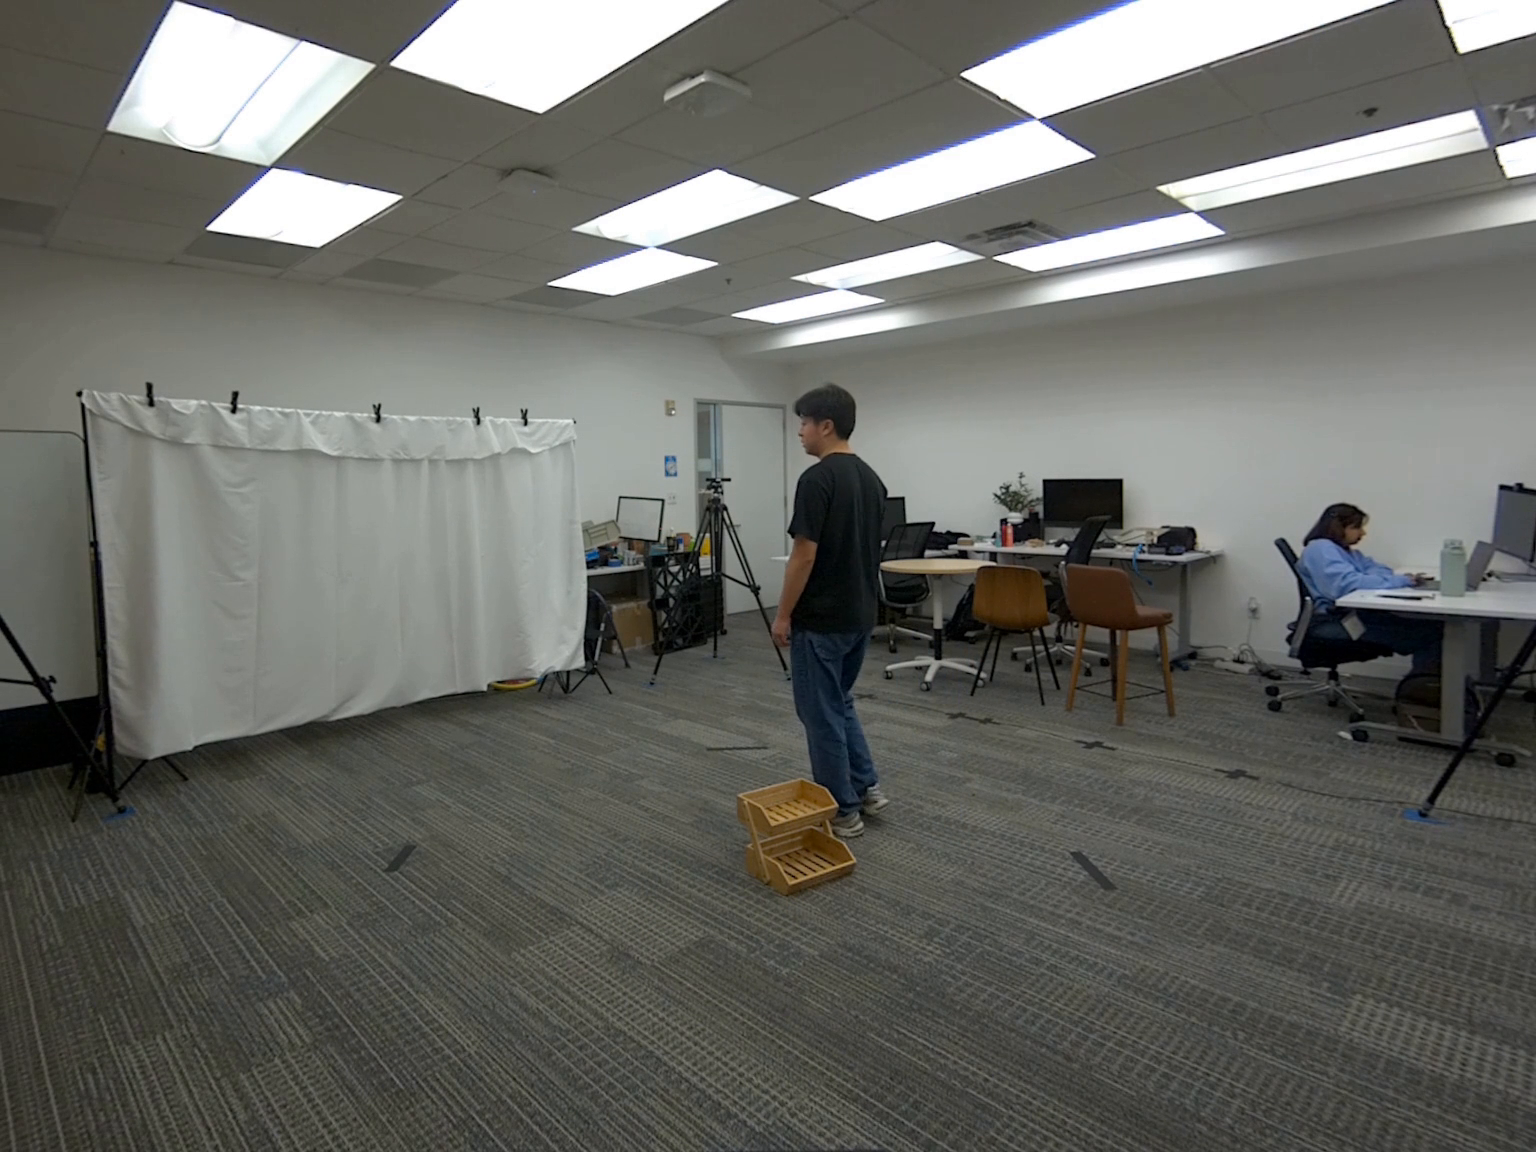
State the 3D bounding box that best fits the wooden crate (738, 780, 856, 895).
[{"bbox_3d":[0.105,0.914,3.034,0.316,0.272,0.311,-4,5,-35],"label":"wooden crate"}]
